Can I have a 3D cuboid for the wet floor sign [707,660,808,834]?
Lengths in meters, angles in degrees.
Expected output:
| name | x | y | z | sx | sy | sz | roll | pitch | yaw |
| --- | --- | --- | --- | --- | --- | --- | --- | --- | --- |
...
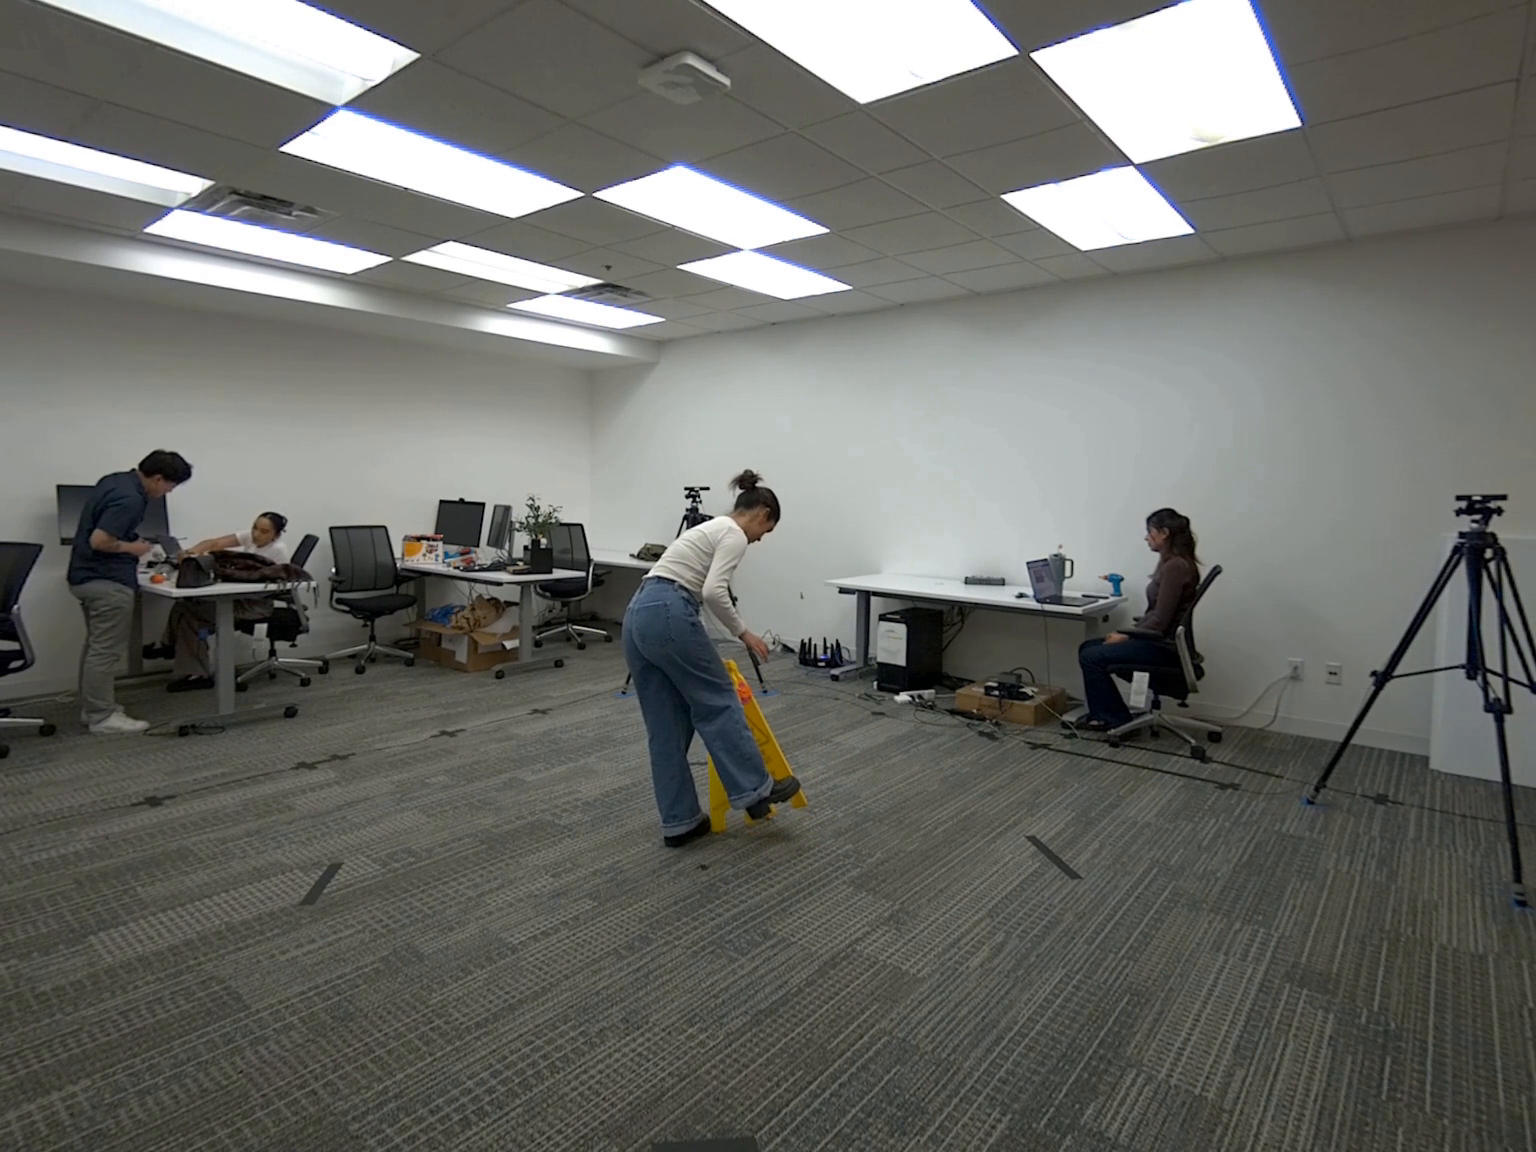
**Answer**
| name | x | y | z | sx | sy | sz | roll | pitch | yaw |
| --- | --- | --- | --- | --- | --- | --- | --- | --- | --- |
| wet floor sign | -0.128 | 0.672 | 3.524 | 0.281 | 0.659 | 0.285 | -4 | -21 | -40 |
